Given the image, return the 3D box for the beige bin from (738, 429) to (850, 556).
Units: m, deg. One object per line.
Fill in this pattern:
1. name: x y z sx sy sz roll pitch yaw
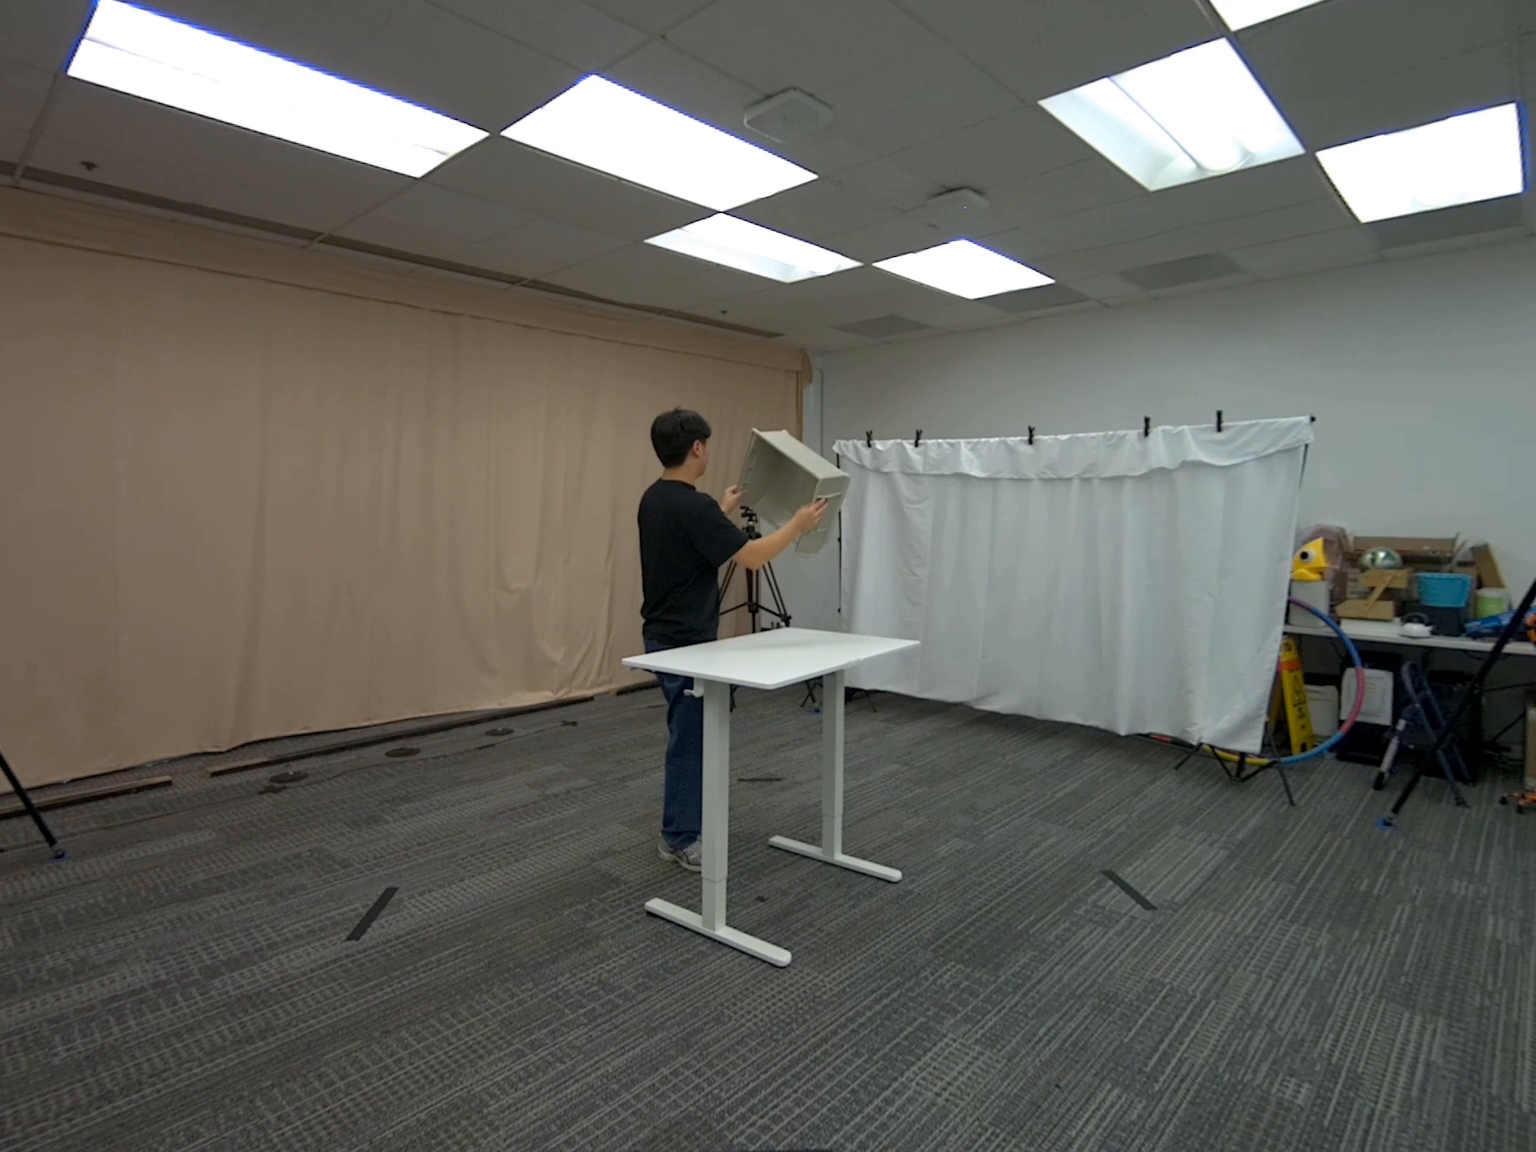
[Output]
1. beige bin: 0.086 -0.337 3.417 0.184 0.375 0.437 -9 39 -40
